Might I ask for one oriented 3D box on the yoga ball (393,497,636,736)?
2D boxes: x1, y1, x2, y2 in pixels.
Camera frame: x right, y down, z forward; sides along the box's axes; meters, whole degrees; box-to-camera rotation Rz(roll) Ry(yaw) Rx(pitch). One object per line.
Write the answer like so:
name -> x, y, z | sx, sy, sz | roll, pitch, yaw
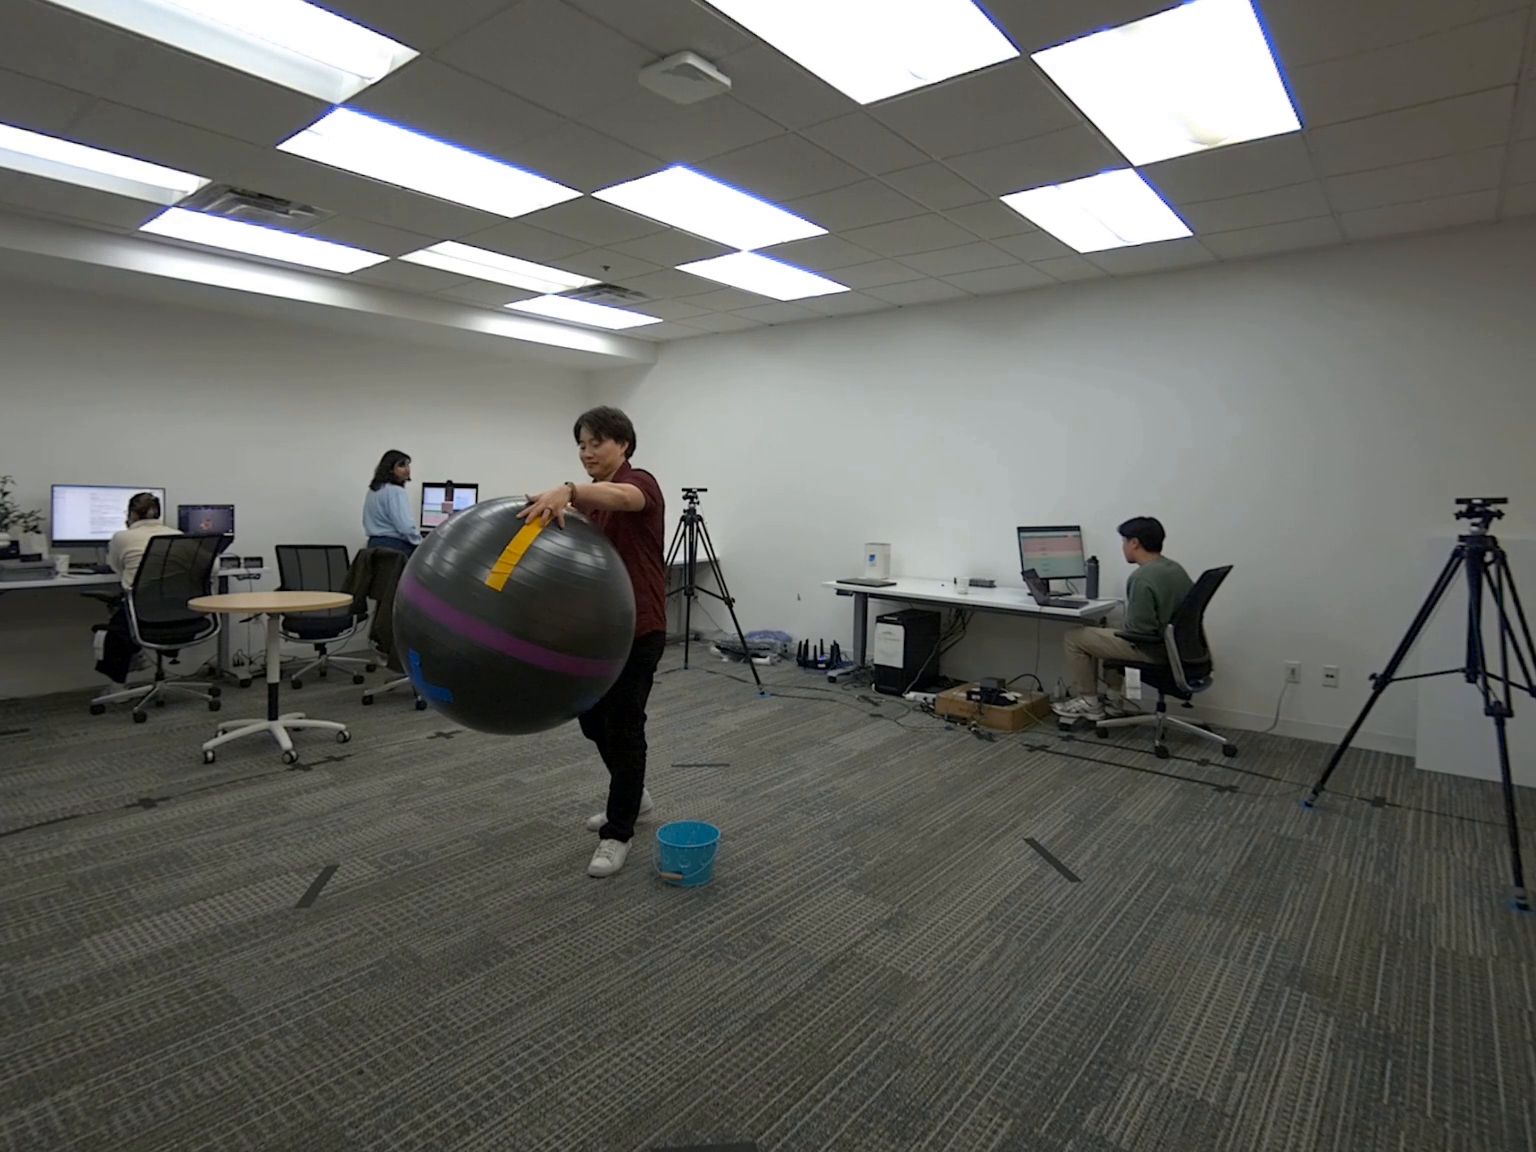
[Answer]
yoga ball -> -0.830, 0.131, 2.728 | 0.757, 0.756, 0.761 | 1, 4, -2
